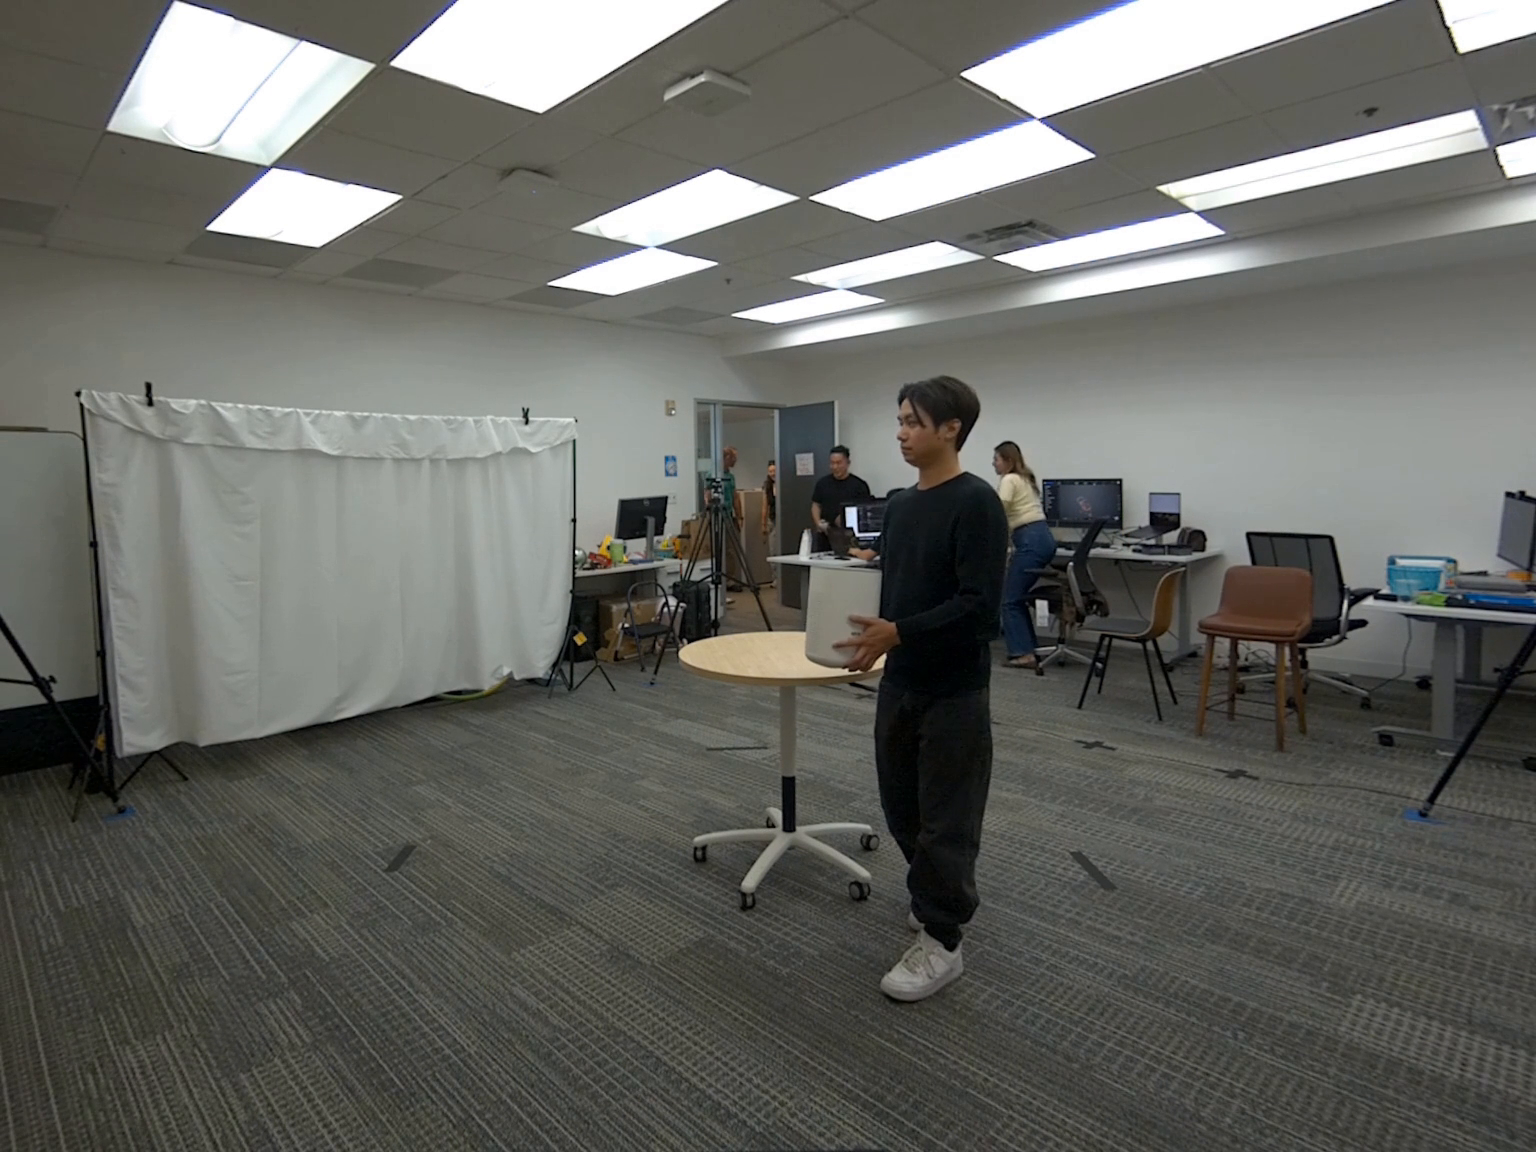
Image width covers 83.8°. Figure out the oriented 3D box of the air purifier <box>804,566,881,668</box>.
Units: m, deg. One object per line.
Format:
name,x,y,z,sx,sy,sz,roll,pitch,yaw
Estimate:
air purifier,0.219,0.109,2.318,0.170,0.265,0.173,5,2,-8
